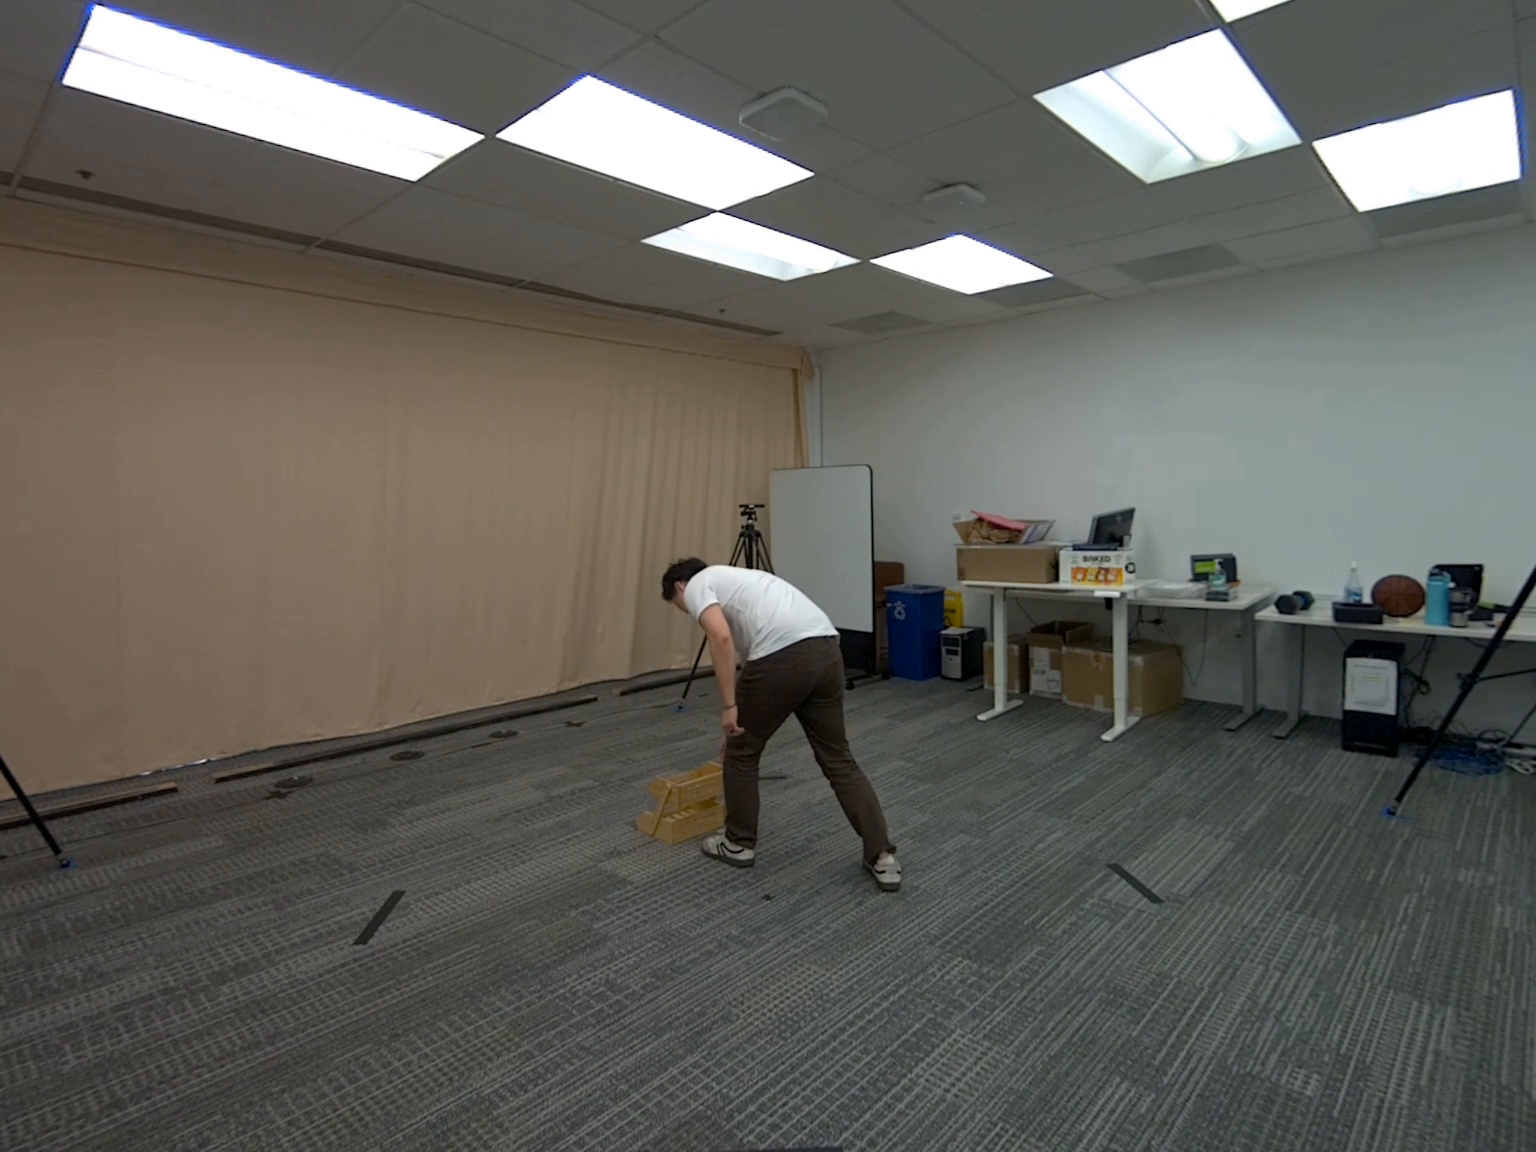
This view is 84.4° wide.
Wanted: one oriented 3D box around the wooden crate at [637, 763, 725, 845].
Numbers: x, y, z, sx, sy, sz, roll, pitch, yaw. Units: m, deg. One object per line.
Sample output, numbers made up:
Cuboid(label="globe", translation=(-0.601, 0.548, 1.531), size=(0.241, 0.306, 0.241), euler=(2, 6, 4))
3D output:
Cuboid(label="wooden crate", translation=(-0.365, 0.960, 3.638), size=(0.314, 0.272, 0.312), euler=(-5, 6, -44))
